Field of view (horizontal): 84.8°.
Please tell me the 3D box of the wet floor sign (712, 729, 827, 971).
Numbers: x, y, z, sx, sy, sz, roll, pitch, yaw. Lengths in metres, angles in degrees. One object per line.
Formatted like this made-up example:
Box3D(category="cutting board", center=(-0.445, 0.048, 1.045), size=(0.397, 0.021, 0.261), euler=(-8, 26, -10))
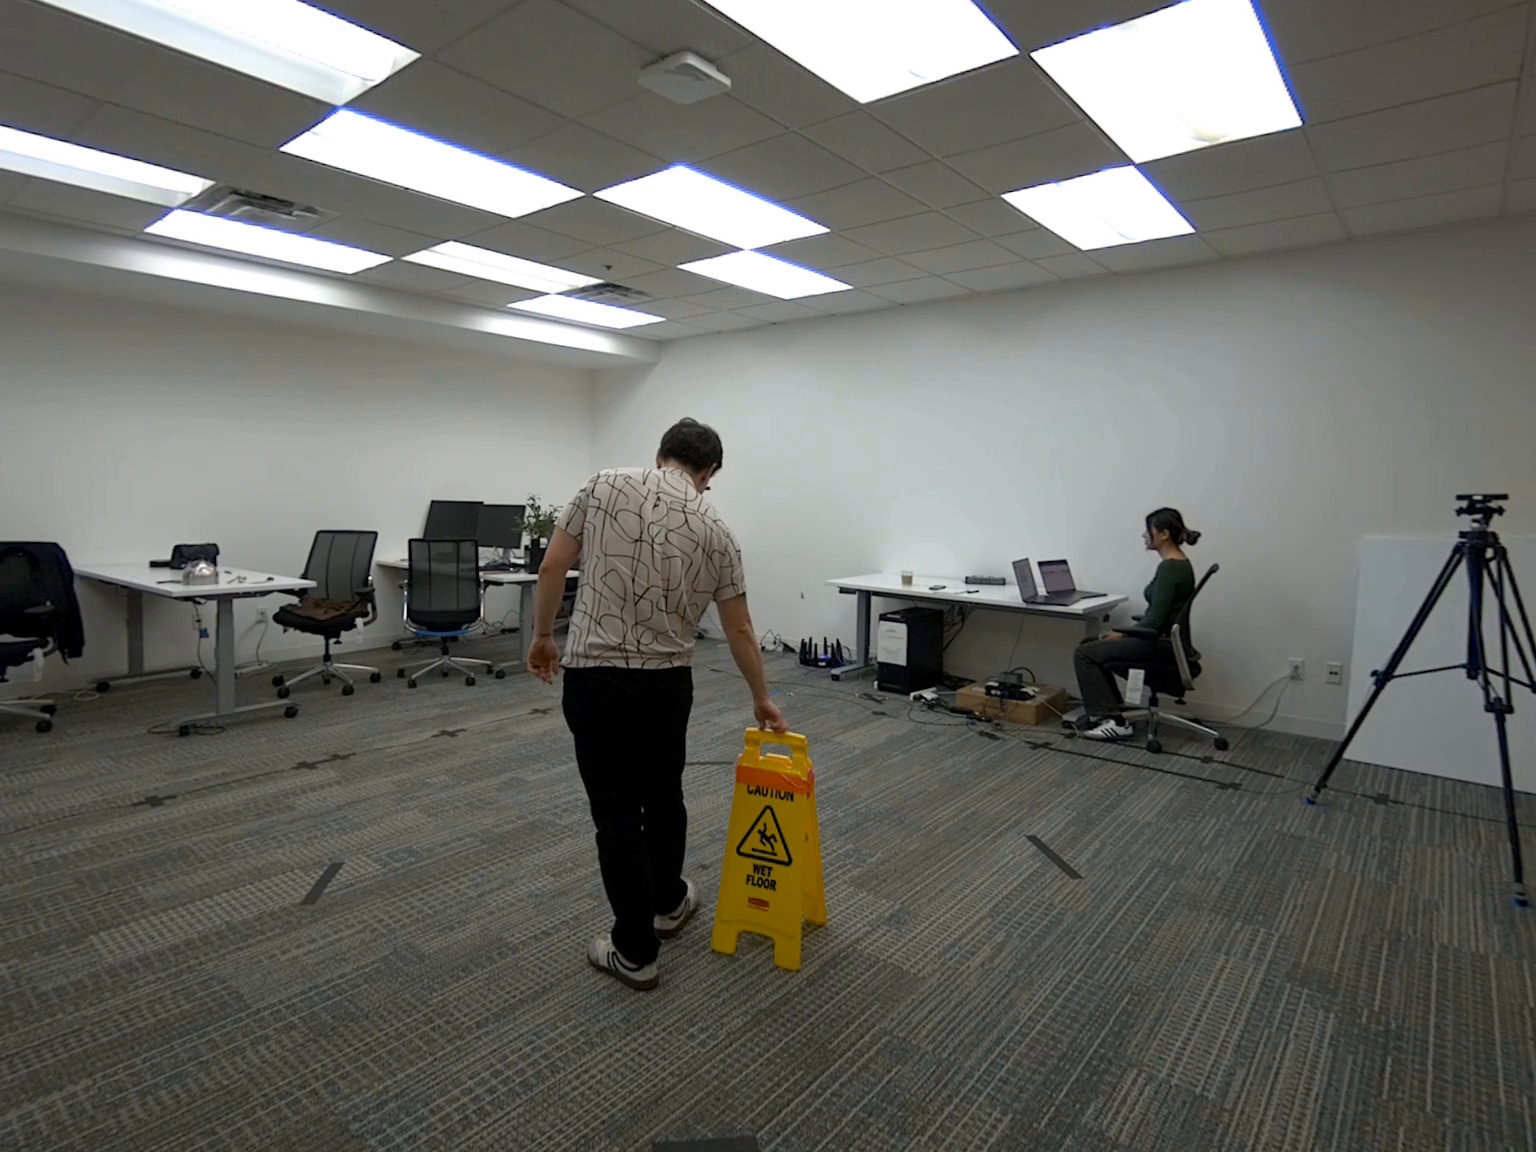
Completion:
Box3D(category="wet floor sign", center=(0.003, 0.791, 2.628), size=(0.289, 0.645, 0.284), euler=(3, 3, 21))
